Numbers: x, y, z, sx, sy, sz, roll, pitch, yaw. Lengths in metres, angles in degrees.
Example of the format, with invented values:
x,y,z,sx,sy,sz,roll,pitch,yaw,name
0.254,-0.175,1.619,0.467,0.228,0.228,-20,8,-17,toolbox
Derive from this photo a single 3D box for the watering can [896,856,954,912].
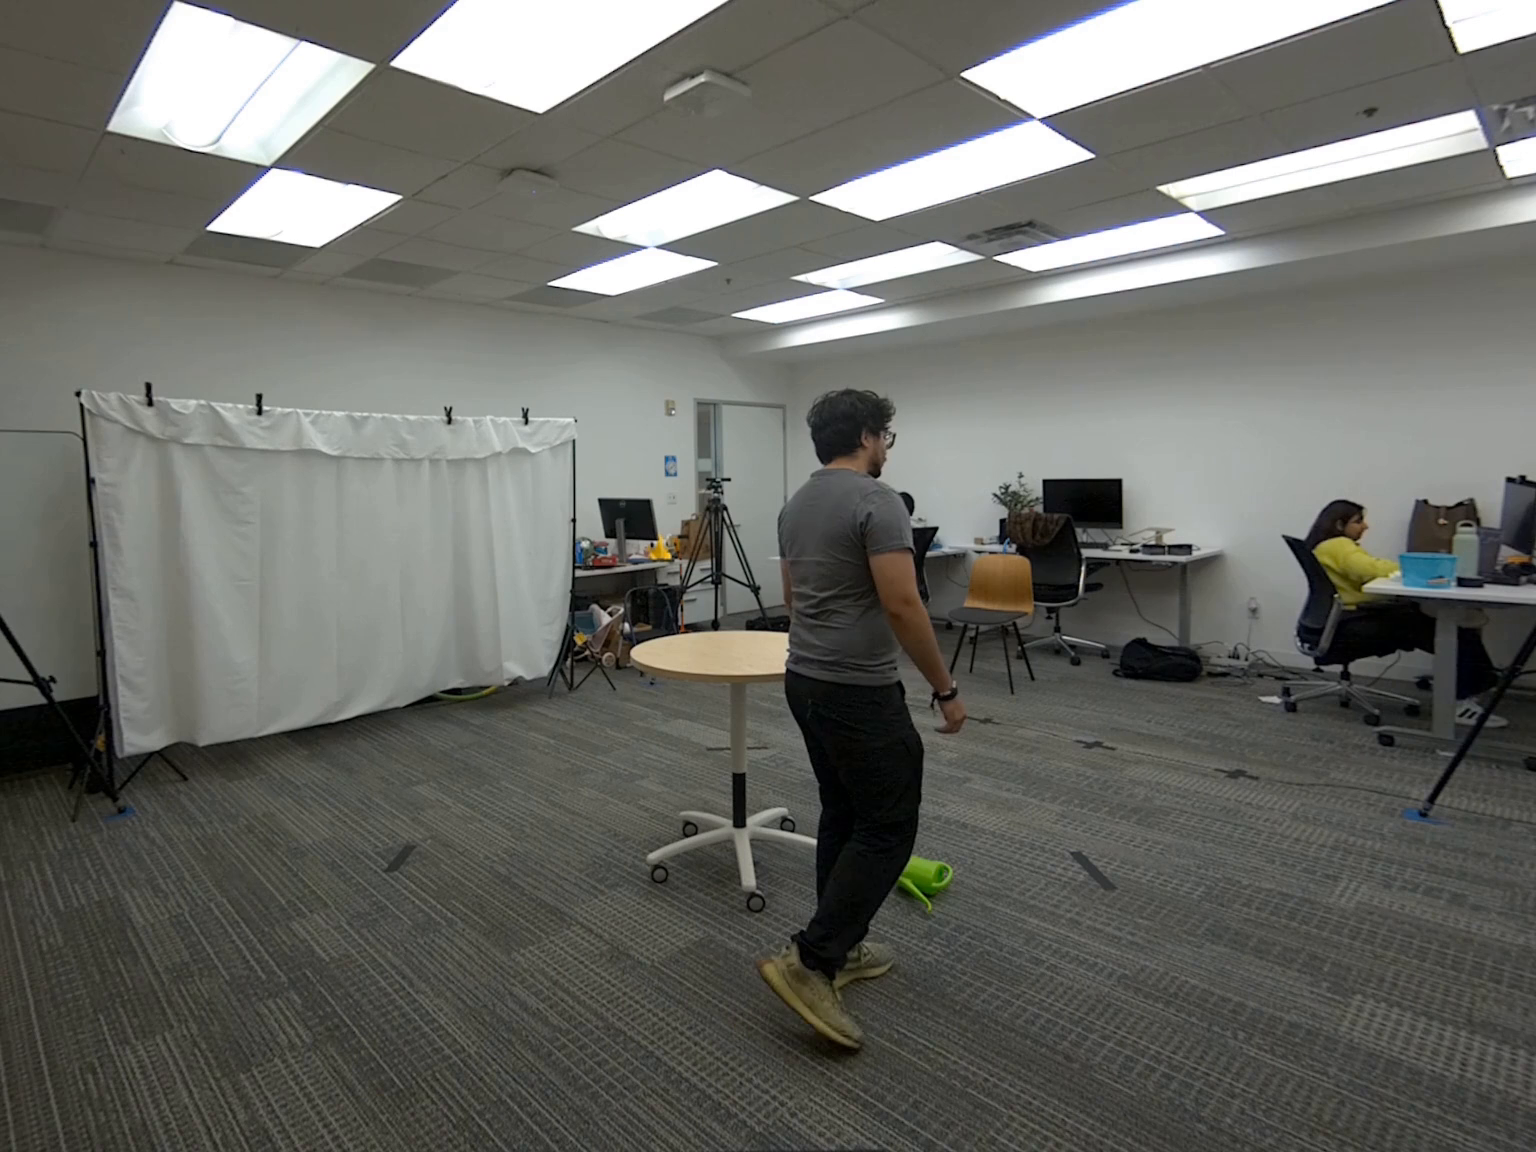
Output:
x,y,z,sx,sy,sz,roll,pitch,yaw,name
0.509,1.013,2.842,0.181,0.098,0.271,2,1,31,watering can
